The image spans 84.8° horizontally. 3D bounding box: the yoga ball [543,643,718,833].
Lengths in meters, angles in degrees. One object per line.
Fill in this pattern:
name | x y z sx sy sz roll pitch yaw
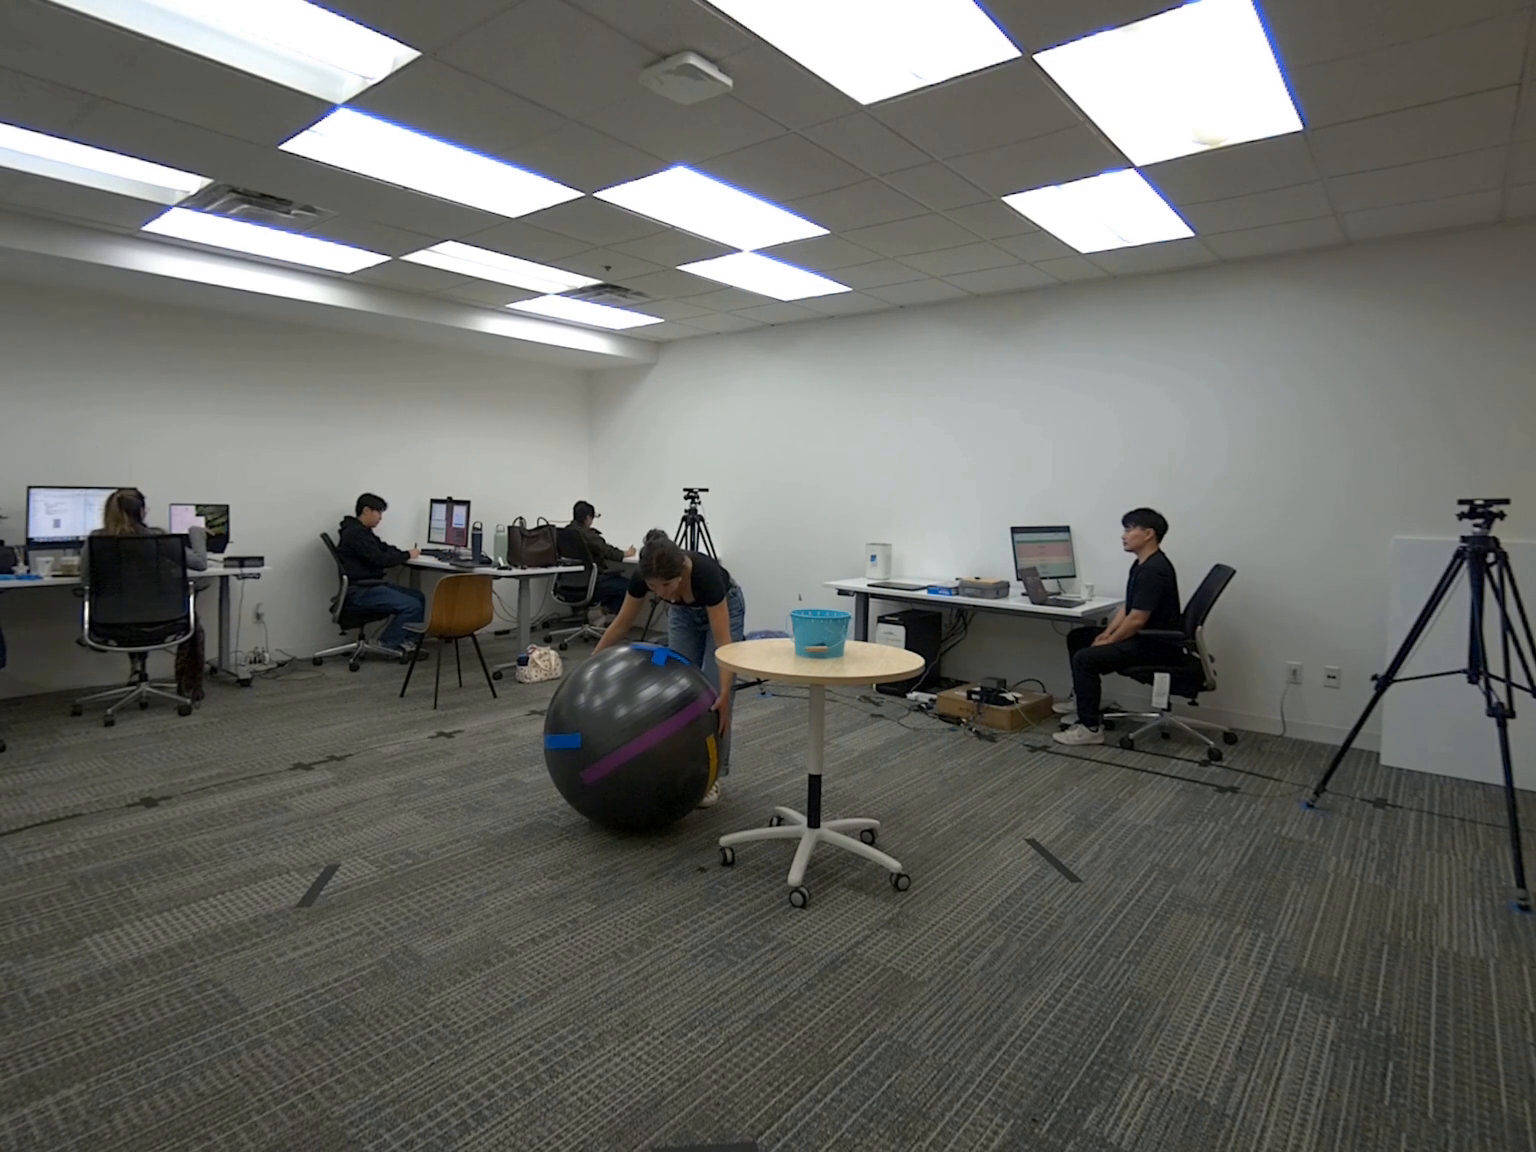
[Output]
yoga ball | -0.567 0.660 3.527 0.757 0.756 0.762 1 4 -2
